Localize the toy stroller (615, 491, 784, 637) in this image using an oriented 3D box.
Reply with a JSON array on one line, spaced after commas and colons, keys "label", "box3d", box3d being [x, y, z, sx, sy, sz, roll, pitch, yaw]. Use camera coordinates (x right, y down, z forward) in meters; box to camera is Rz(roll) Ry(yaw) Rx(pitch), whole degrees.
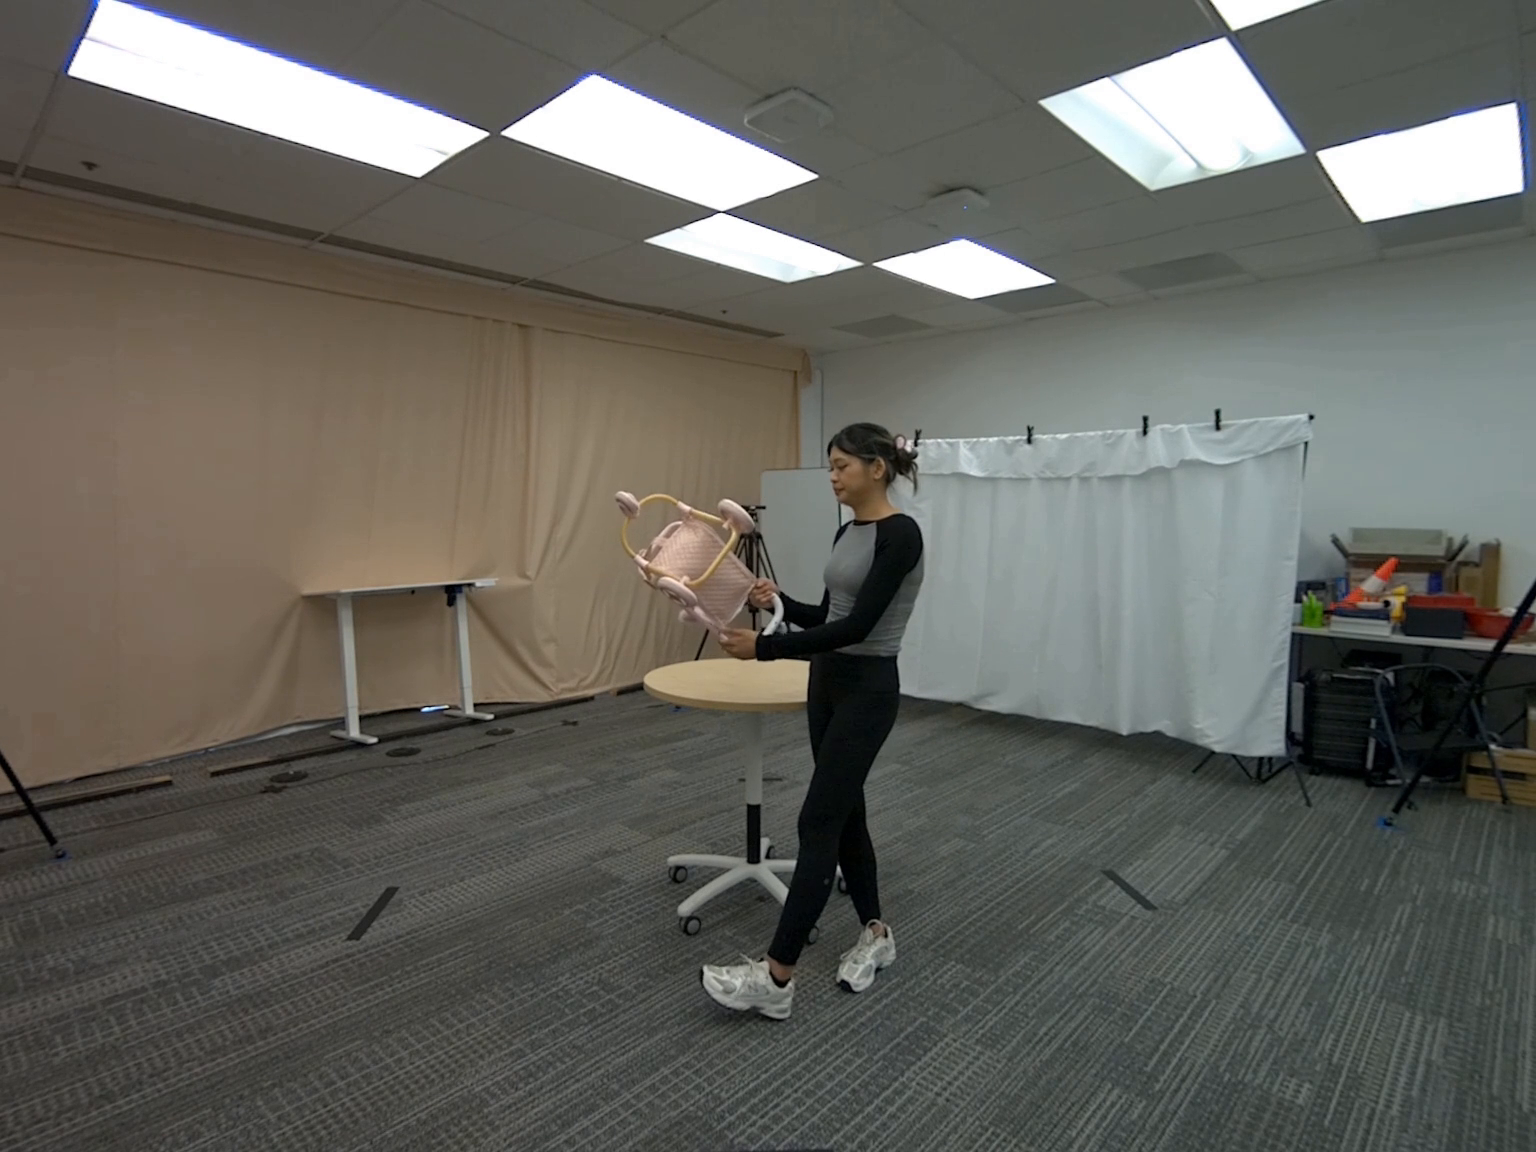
[{"label": "toy stroller", "box3d": [-0.190, -0.024, 2.268, 0.352, 0.281, 0.518, 22, -22, 30]}]
